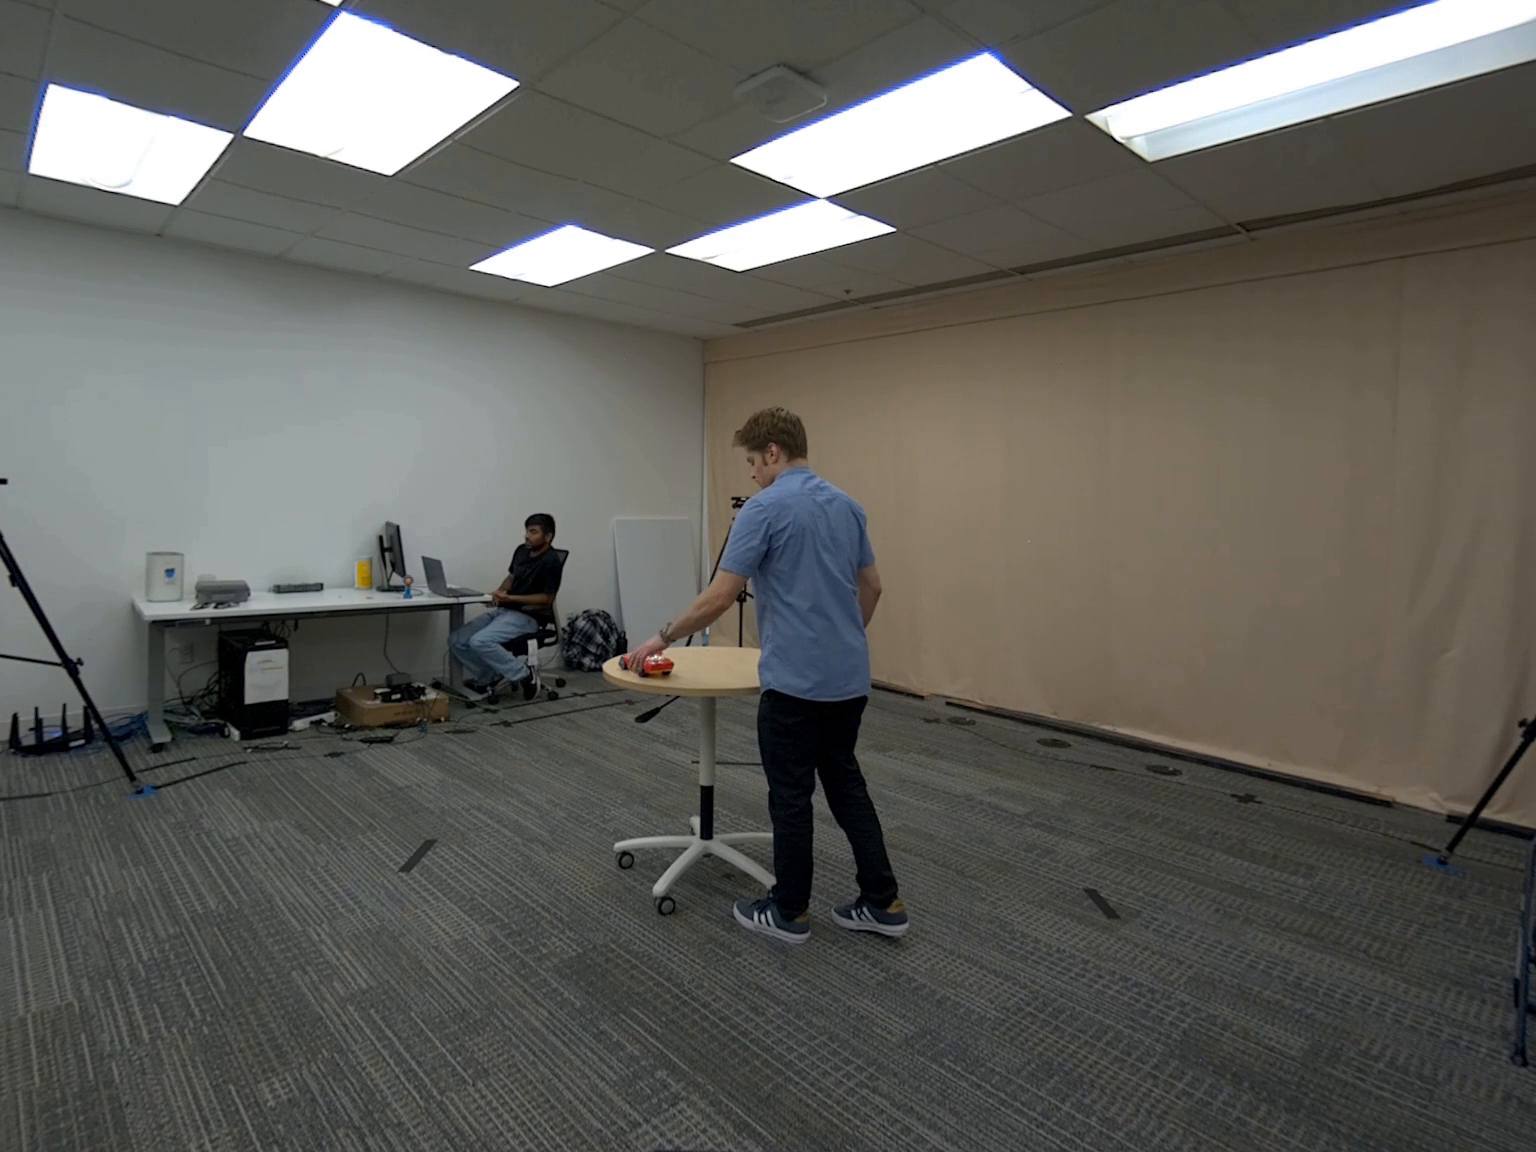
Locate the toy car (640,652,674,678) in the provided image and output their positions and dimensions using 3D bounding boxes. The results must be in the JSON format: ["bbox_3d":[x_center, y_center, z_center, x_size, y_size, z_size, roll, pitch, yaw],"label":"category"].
[{"bbox_3d":[-0.421,0.307,2.911,0.128,0.083,0.259,-3,-4,-31],"label":"toy car"}]
